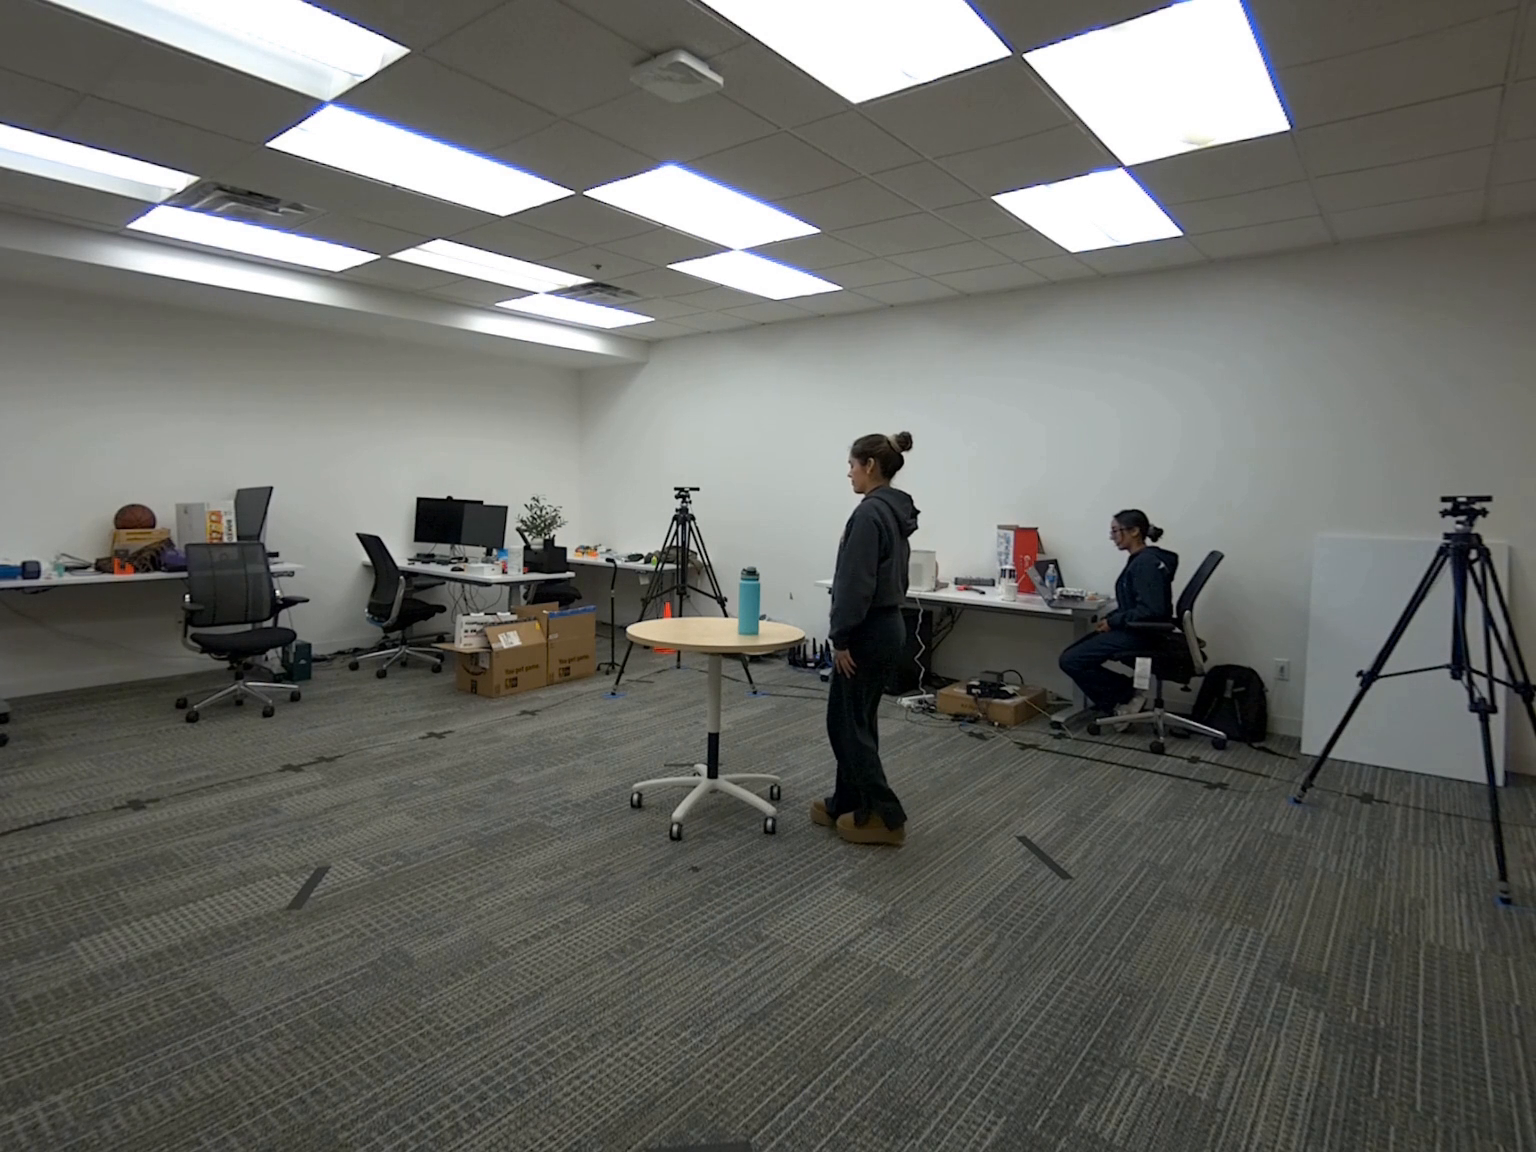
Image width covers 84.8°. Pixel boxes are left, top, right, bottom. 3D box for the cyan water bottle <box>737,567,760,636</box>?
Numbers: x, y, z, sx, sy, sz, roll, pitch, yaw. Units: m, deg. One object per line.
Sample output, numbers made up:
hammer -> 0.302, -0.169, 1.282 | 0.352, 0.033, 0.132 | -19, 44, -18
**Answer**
cyan water bottle -> -0.081, 0.098, 3.596 | 0.092, 0.283, 0.092 | 1, 2, -2
